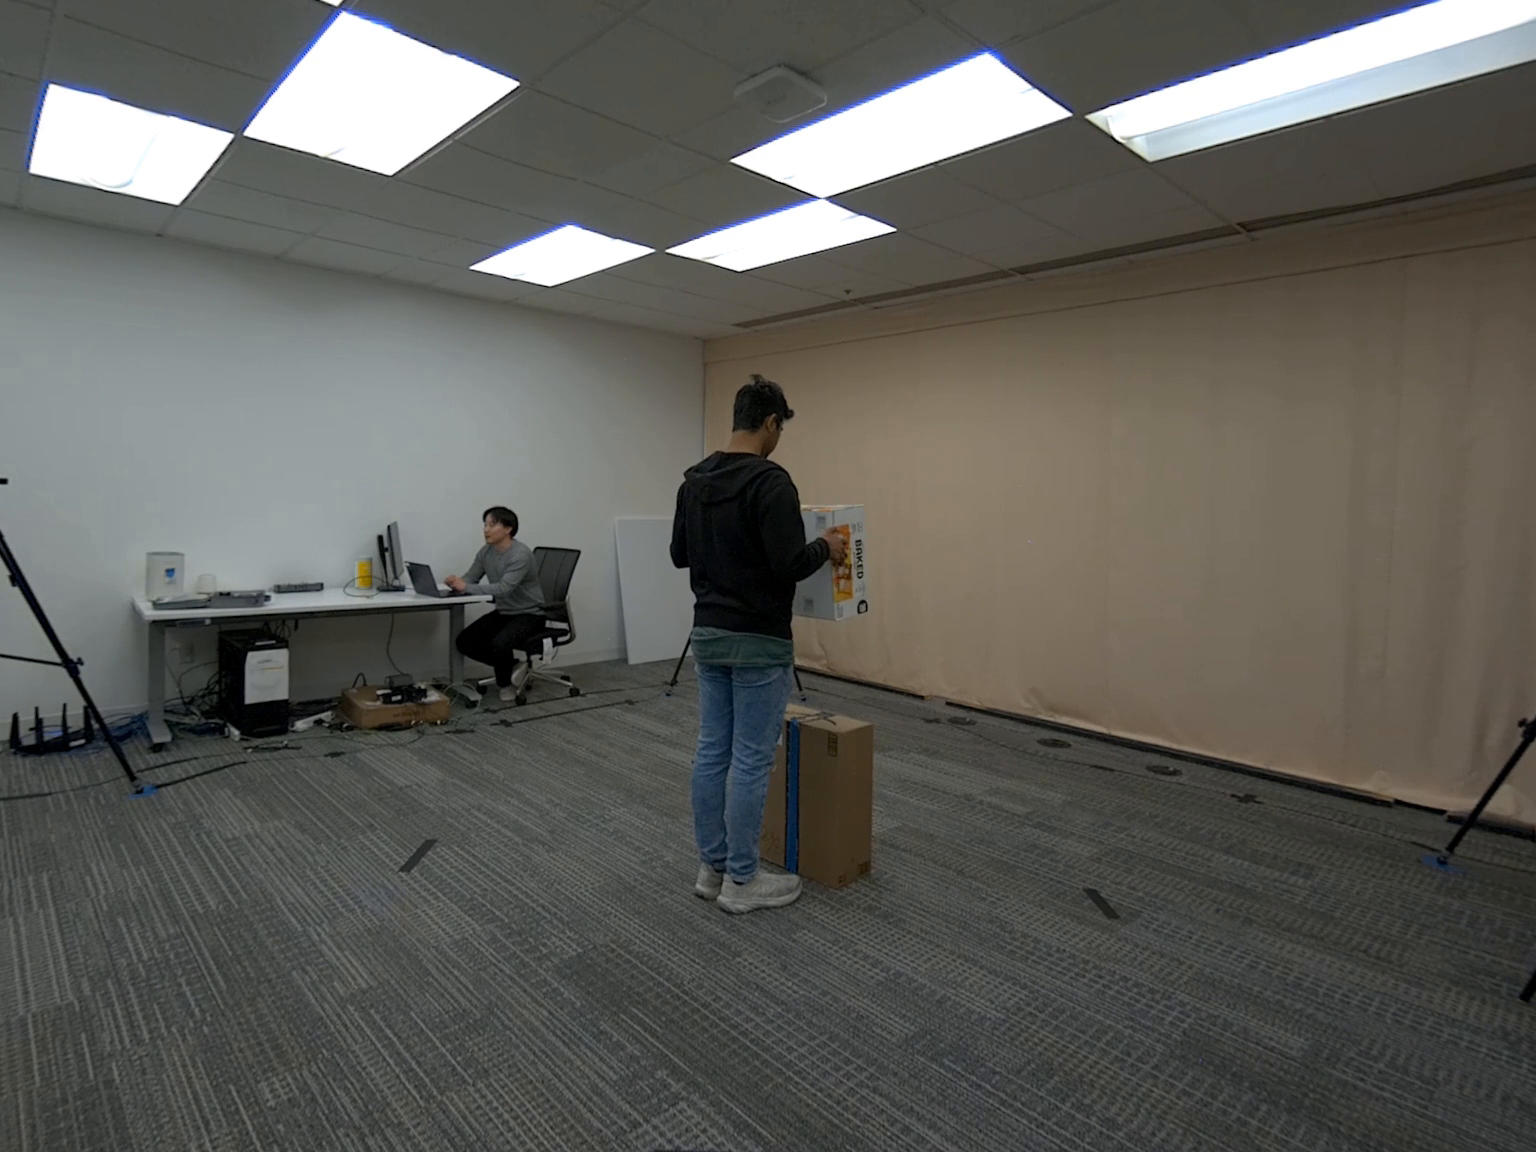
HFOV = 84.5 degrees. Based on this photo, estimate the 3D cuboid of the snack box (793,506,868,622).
[{"bbox_3d":[0.166,-0.055,3.196,0.349,0.403,0.202,3,10,45],"label":"snack box"}]
